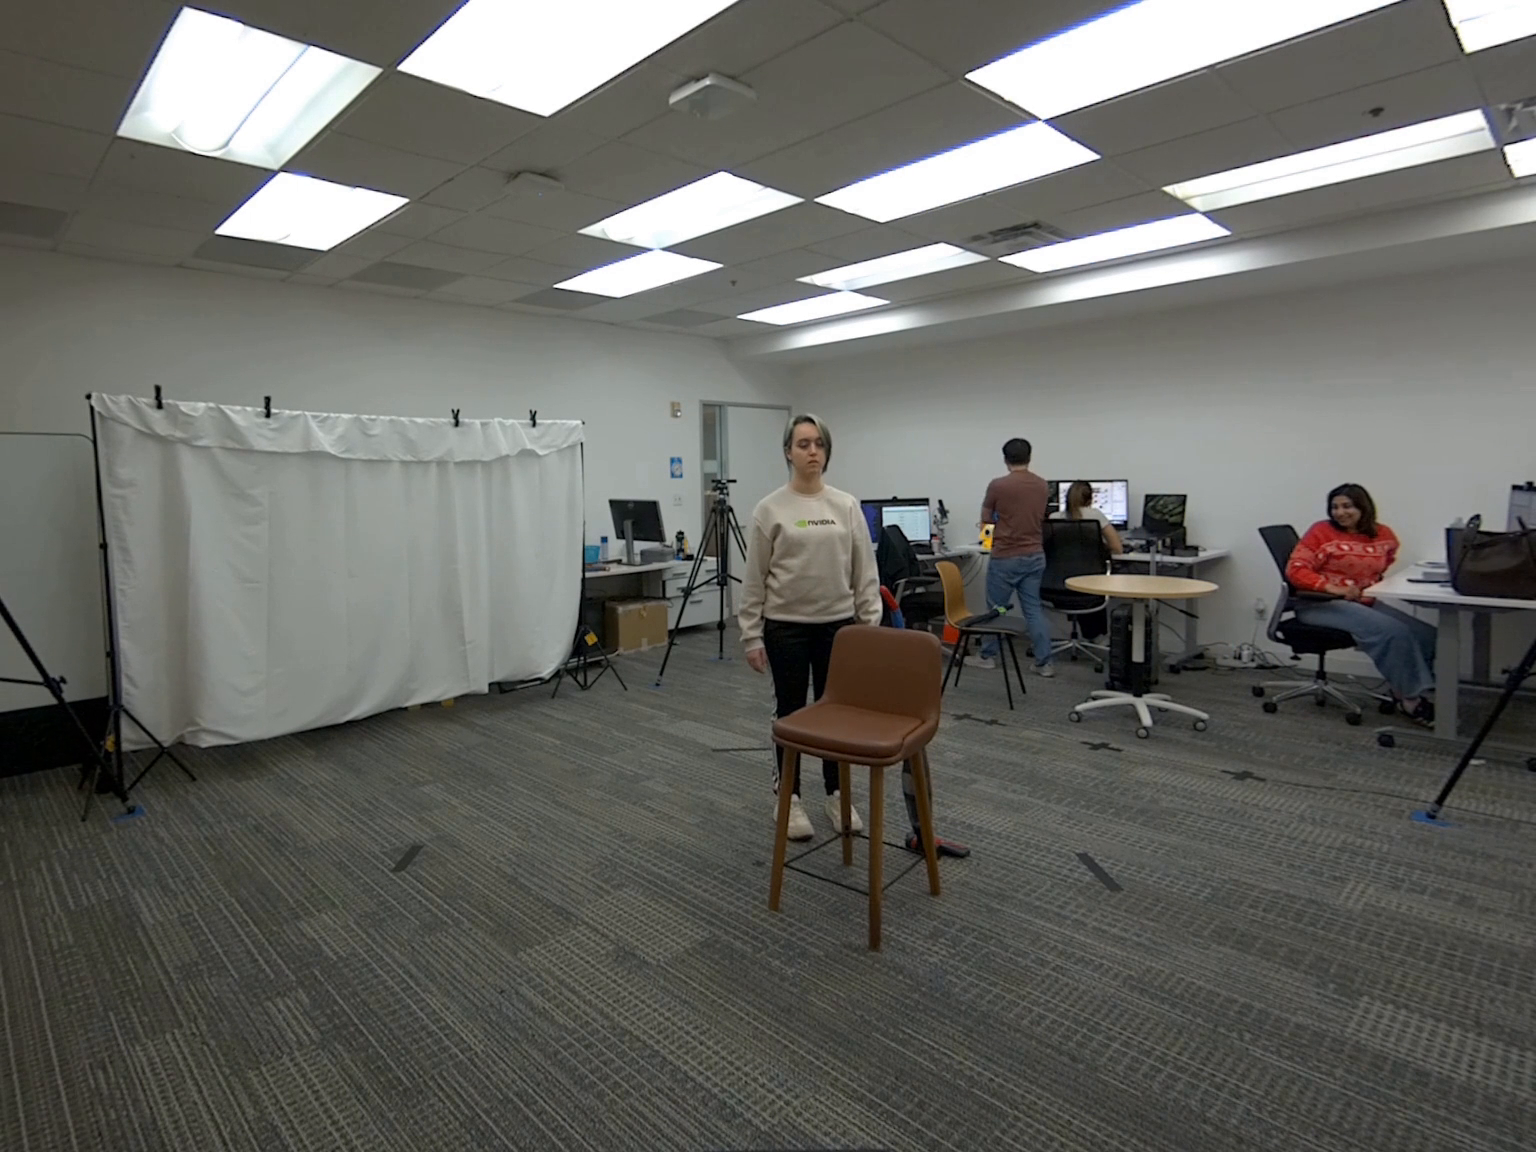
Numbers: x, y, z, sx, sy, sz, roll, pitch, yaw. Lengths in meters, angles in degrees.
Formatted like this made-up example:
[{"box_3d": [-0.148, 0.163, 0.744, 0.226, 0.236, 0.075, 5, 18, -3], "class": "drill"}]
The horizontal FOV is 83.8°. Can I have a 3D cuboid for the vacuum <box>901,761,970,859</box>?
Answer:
[{"box_3d": [0.523, 0.544, 3.073, 0.260, 1.032, 0.142, 6, 21, 44], "class": "vacuum"}]
